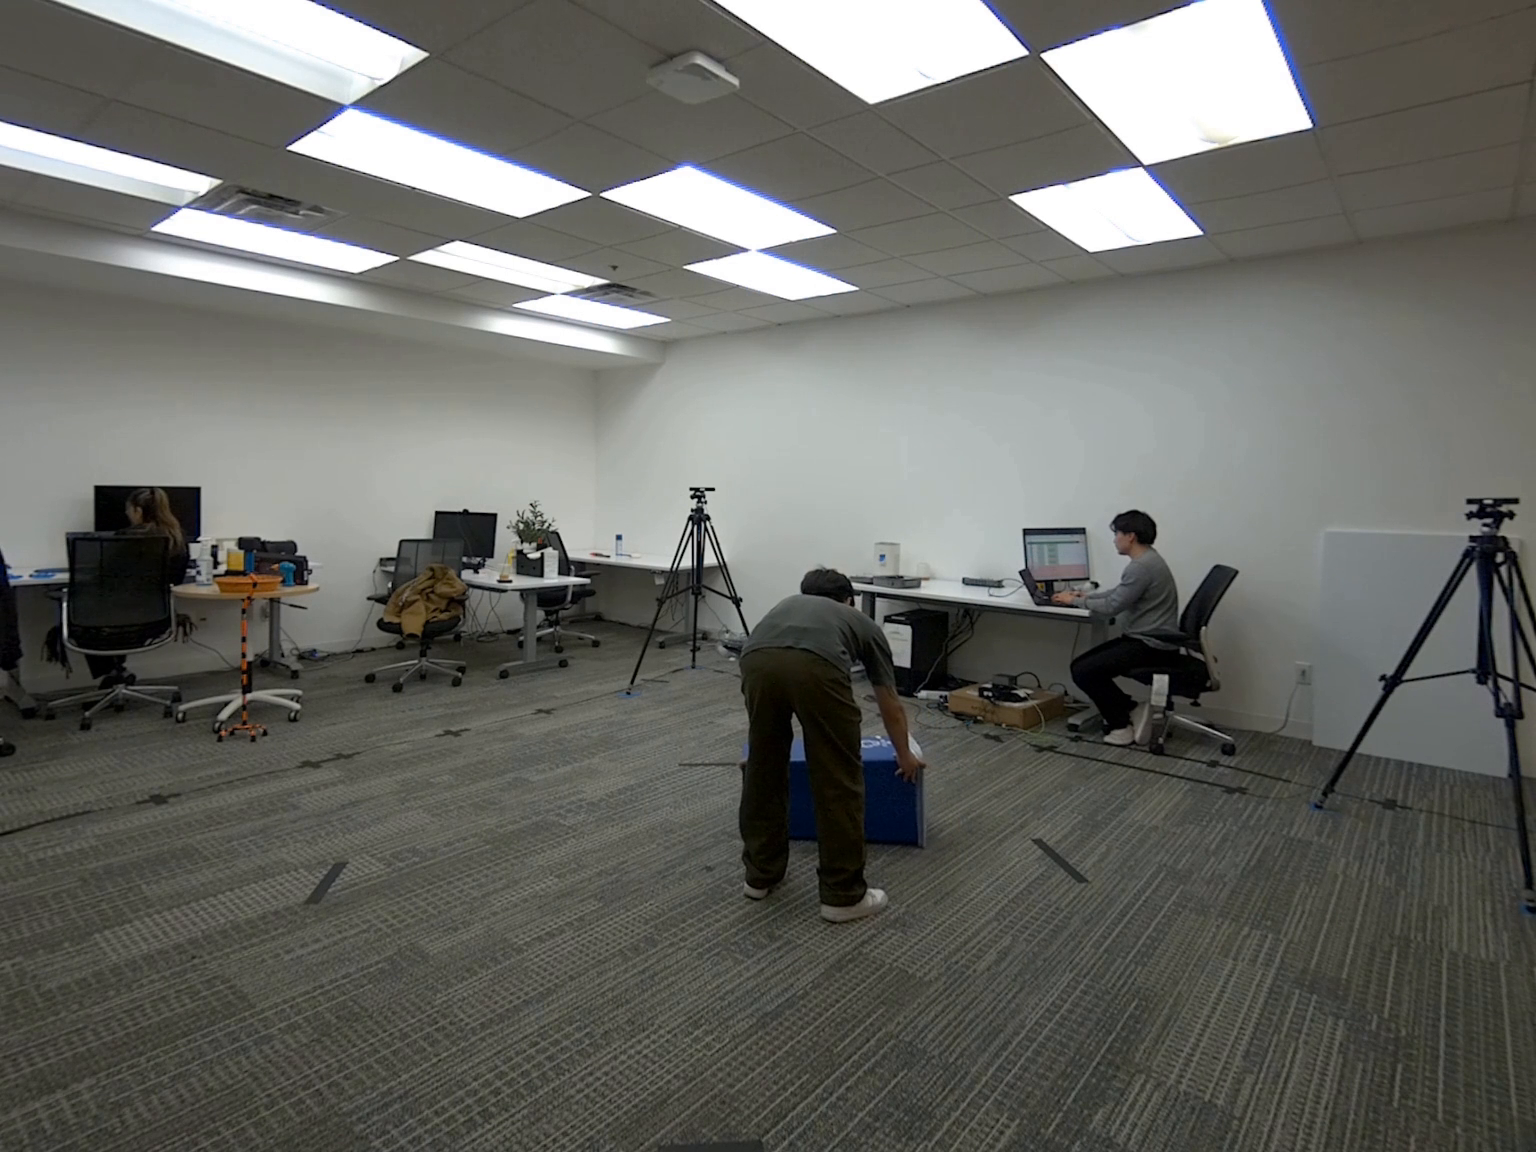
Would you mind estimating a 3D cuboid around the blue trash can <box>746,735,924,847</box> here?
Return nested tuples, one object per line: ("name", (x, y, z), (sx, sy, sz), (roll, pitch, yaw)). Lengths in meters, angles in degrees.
("blue trash can", (0.255, 0.865, 3.516), (0.716, 0.373, 0.378), (0, 4, 3))
